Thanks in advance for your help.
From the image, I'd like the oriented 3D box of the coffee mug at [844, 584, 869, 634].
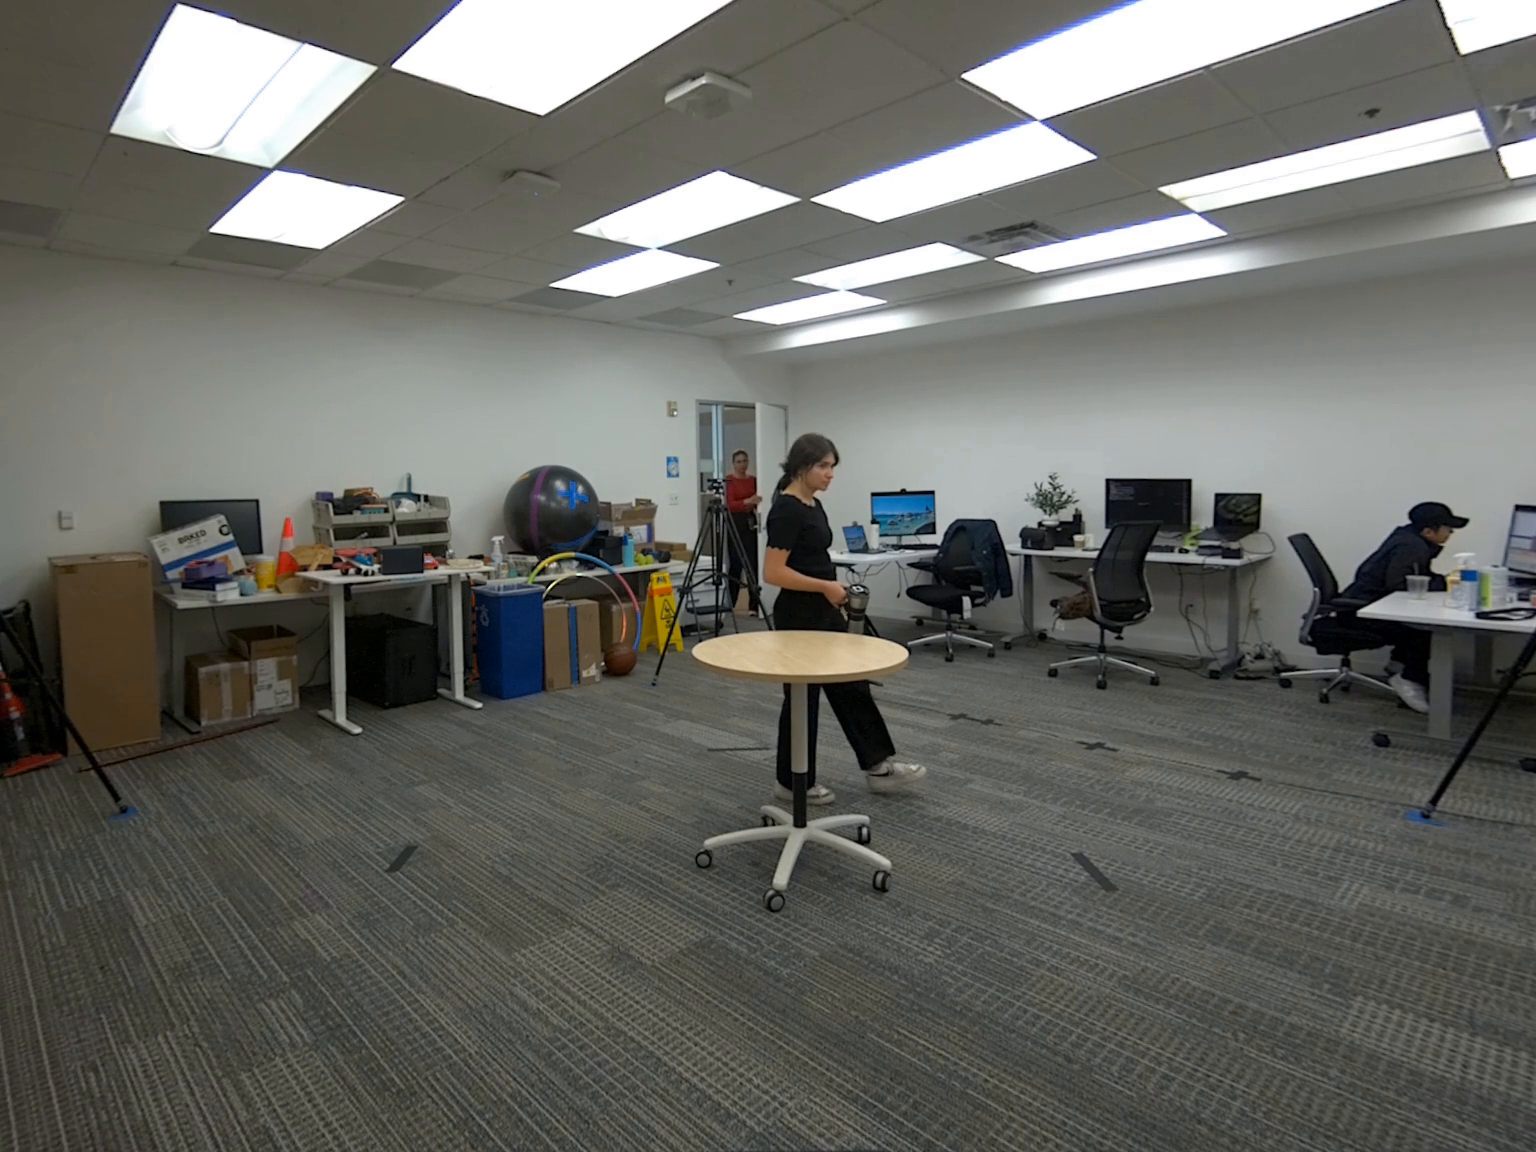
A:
[{"bbox_3d":[0.336,0.140,3.473,0.086,0.199,0.126,-19,32,-40],"label":"coffee mug"}]
